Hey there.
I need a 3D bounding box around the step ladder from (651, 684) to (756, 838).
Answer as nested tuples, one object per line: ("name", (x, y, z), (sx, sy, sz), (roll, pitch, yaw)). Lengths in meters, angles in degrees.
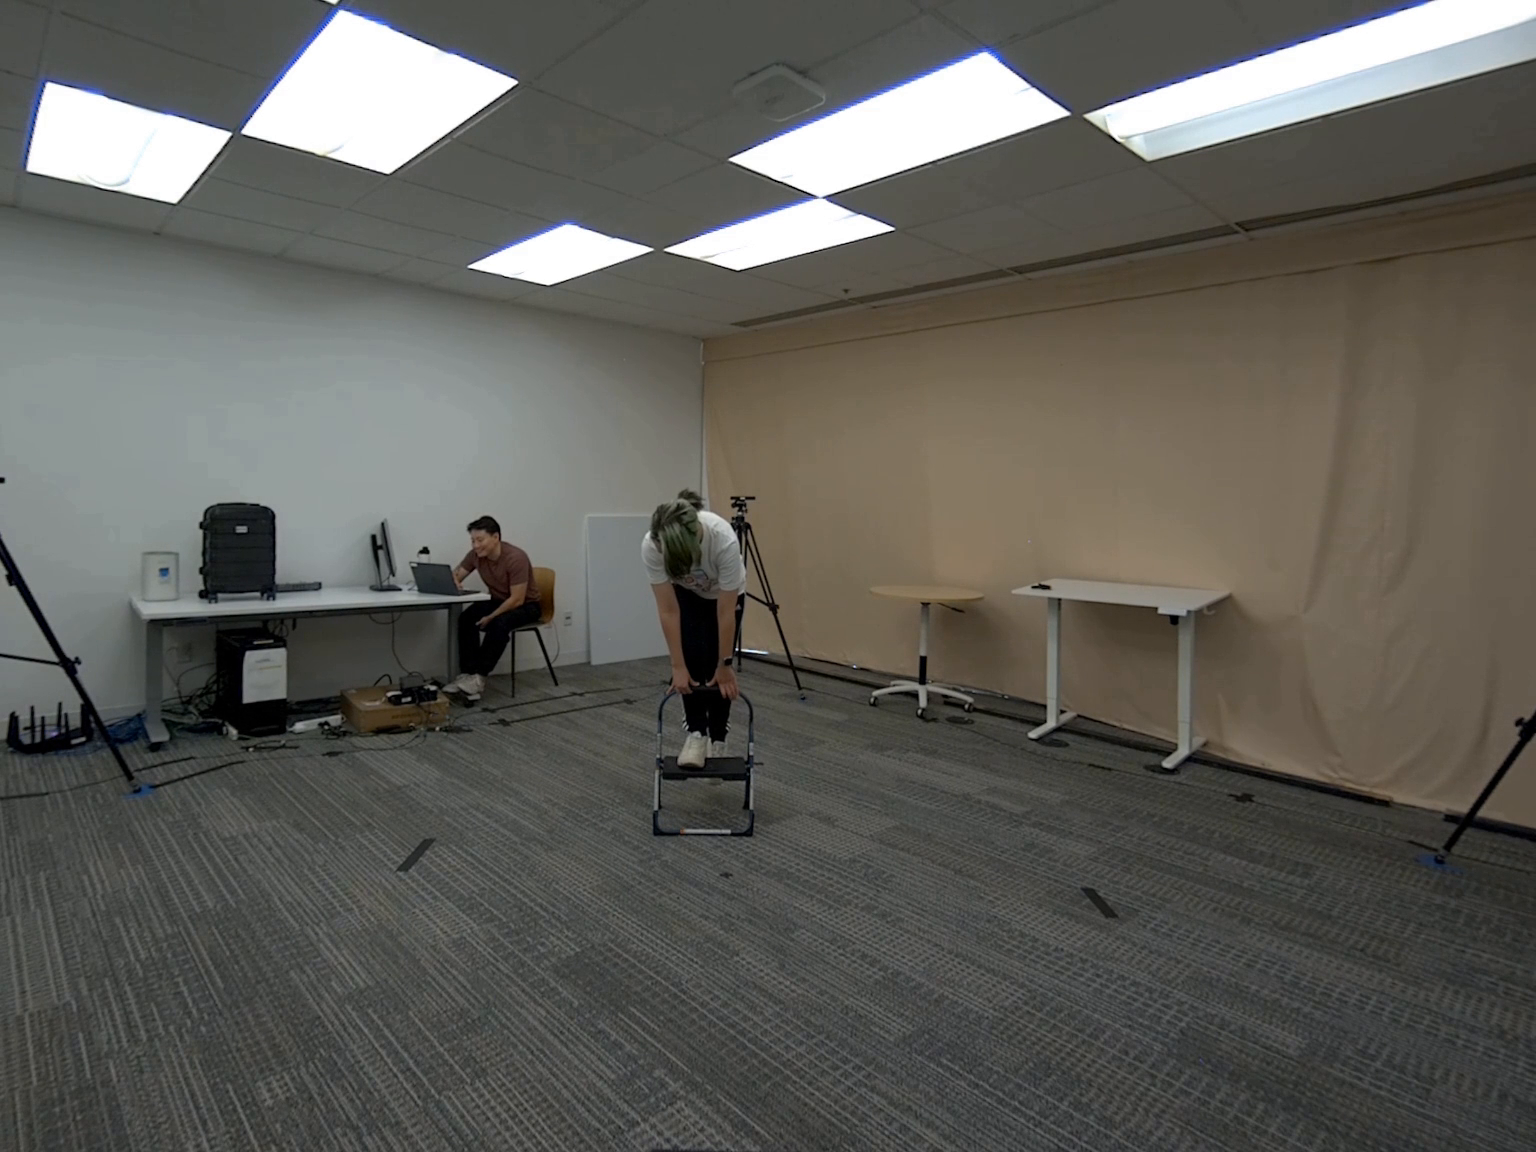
("step ladder", (-0.280, 0.759, 3.614), (0.429, 0.605, 0.351), (2, 3, -4))
